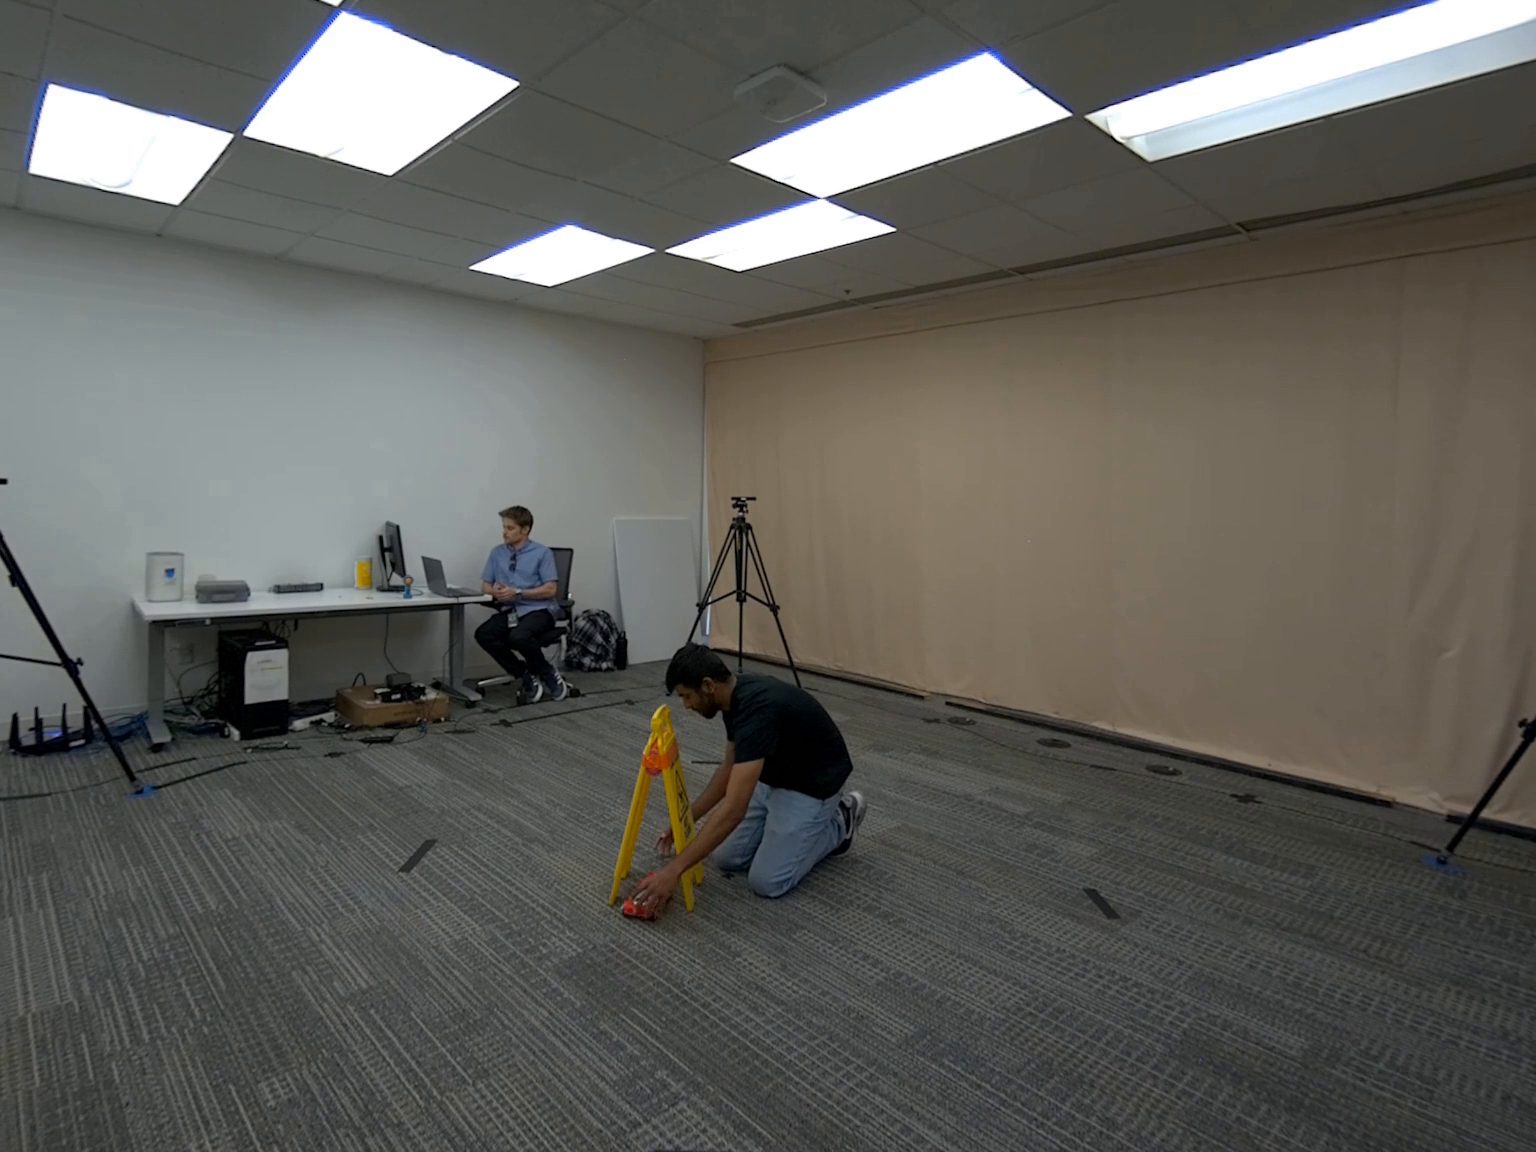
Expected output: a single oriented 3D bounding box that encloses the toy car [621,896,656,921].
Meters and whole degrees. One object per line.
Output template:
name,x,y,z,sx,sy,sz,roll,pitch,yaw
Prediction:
toy car,-0.399,1.089,2.869,0.132,0.082,0.254,4,14,12
